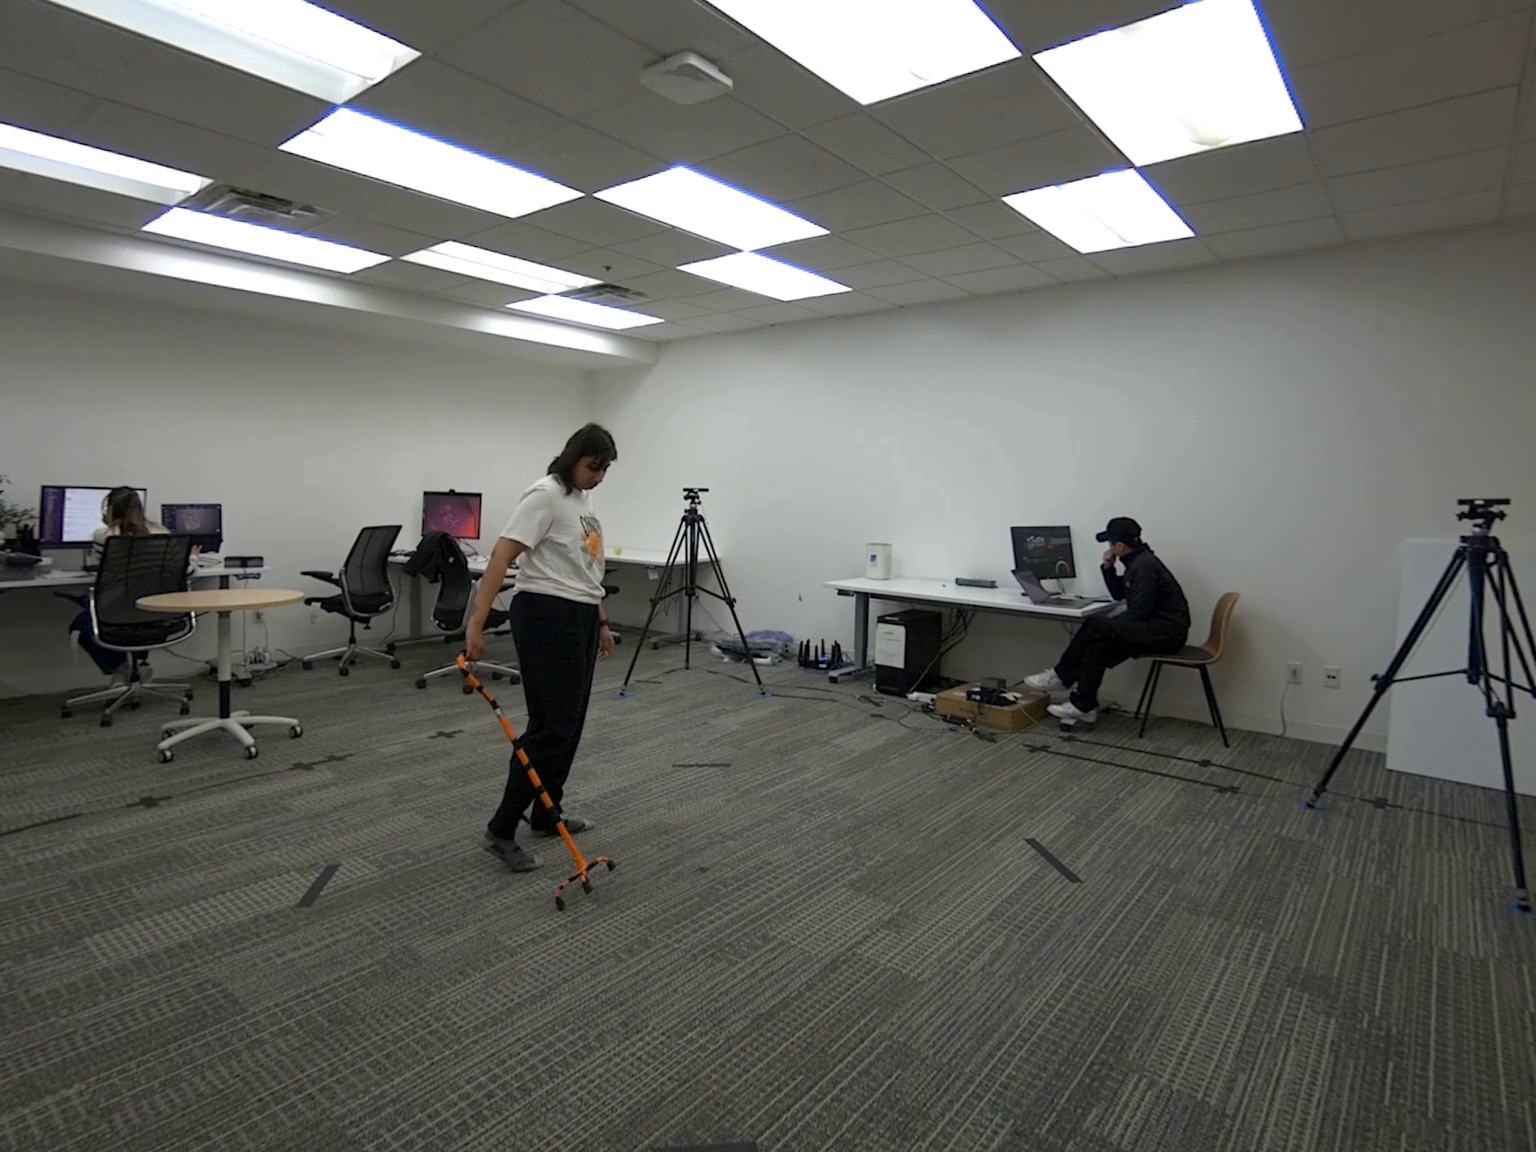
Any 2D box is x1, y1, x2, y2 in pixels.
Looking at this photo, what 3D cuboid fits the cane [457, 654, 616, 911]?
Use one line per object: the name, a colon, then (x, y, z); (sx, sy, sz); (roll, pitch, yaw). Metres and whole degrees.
cane: (-0.838, 0.662, 2.917); (0.152, 0.917, 0.203); (-32, -7, 14)
